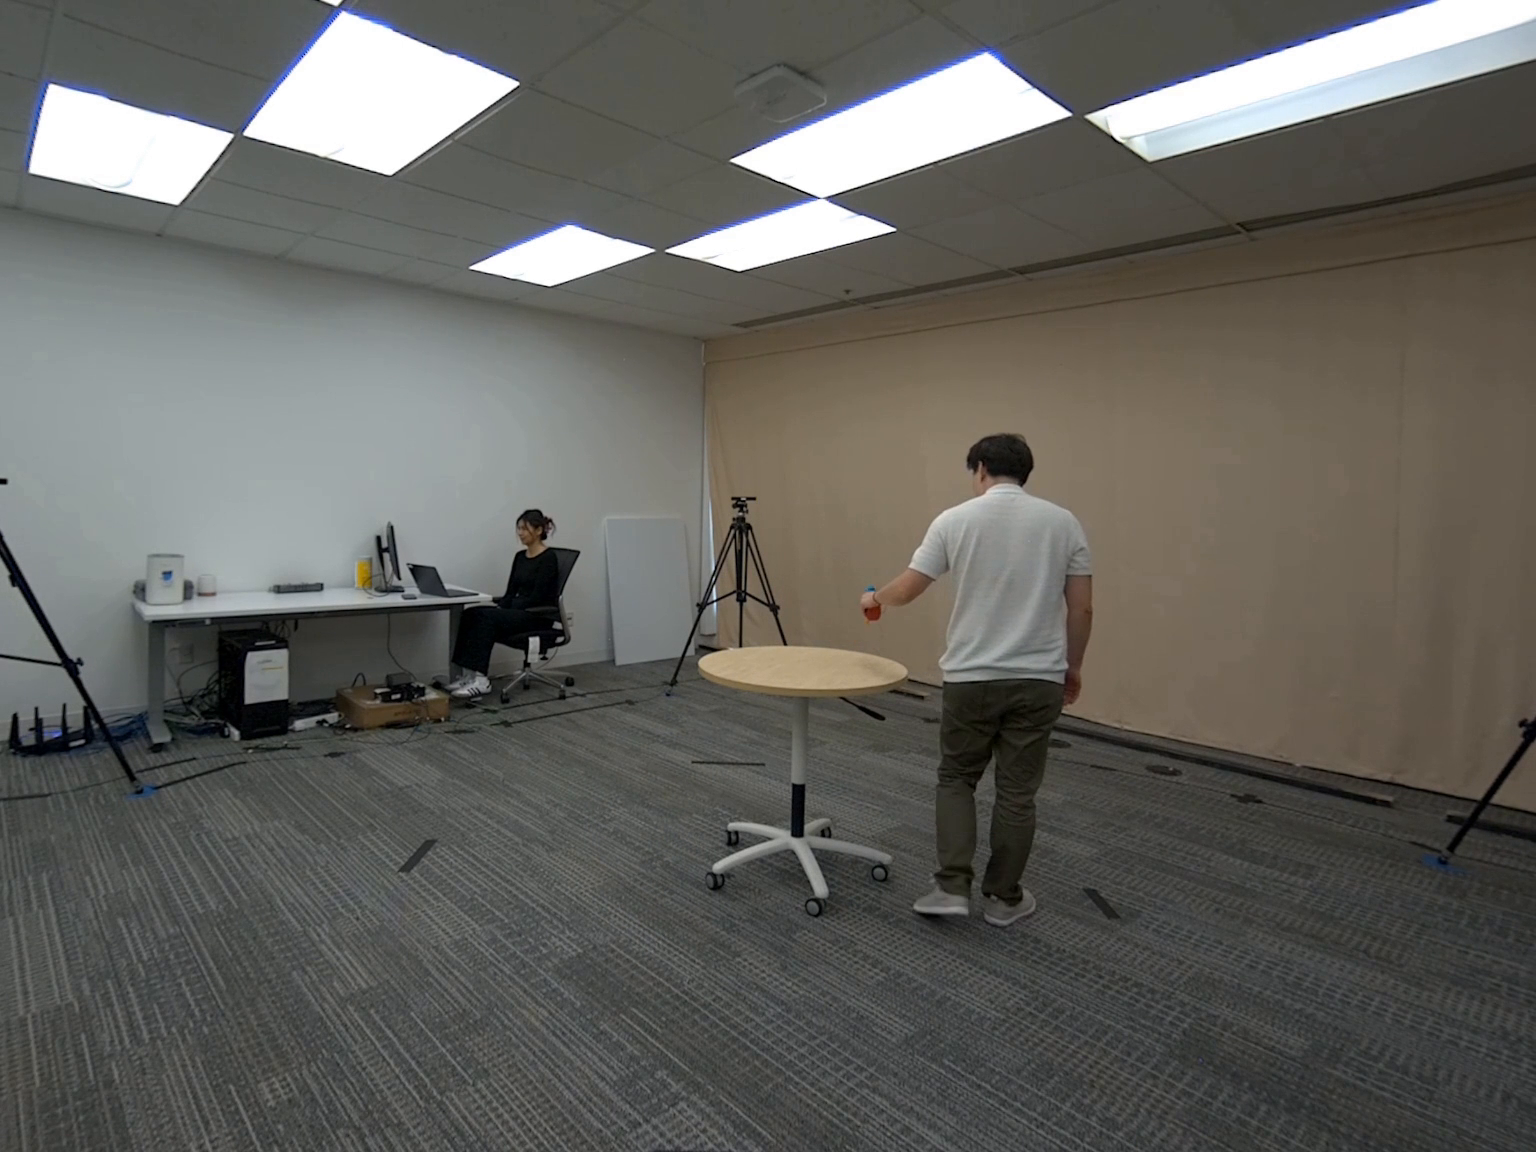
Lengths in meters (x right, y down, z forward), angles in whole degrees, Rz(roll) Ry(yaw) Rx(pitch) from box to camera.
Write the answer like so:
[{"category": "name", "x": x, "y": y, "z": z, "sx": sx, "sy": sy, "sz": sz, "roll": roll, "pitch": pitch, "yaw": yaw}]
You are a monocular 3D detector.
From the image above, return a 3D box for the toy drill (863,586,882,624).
[{"category": "toy drill", "x": 0.375, "y": 0.134, "z": 3.199, "sx": 0.061, "sy": 0.167, "sz": 0.148, "roll": 6, "pitch": 25, "yaw": 1}]
